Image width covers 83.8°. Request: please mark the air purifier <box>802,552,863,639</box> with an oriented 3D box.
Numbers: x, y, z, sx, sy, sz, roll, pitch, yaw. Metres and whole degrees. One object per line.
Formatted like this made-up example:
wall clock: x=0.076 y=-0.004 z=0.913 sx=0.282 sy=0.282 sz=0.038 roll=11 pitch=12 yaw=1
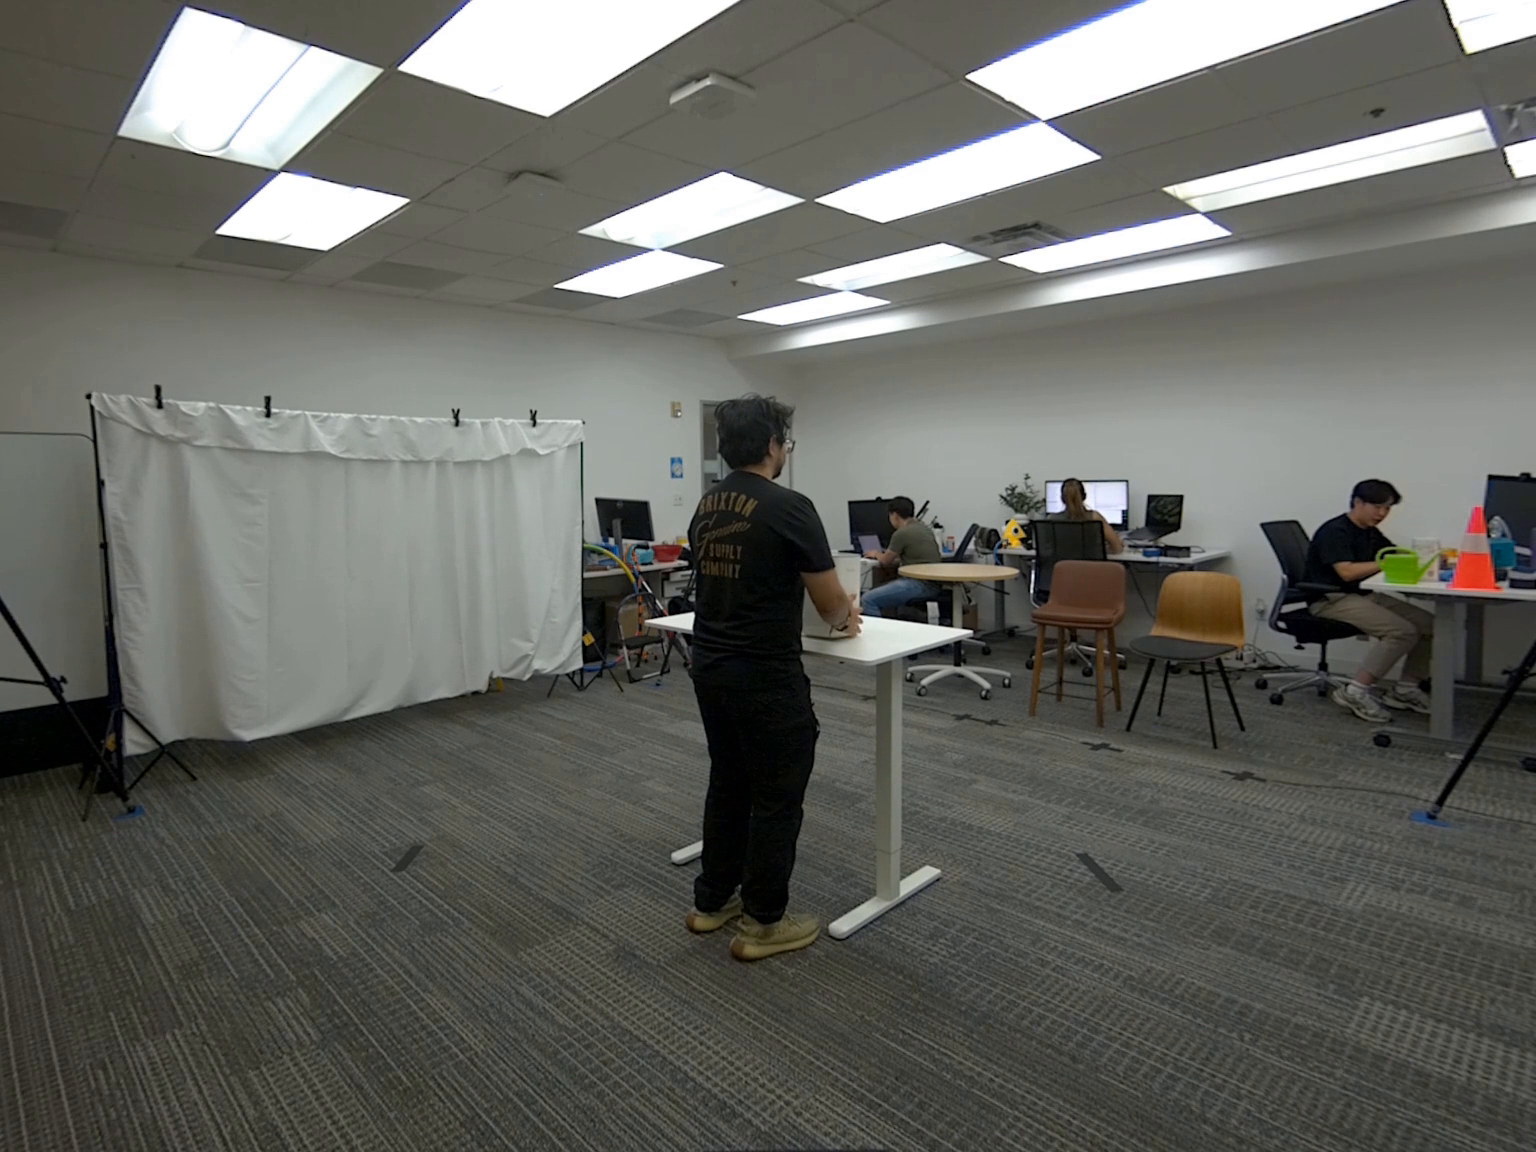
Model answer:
air purifier: x=0.210 y=0.056 z=2.799 sx=0.177 sy=0.265 sz=0.166 roll=4 pitch=4 yaw=43
